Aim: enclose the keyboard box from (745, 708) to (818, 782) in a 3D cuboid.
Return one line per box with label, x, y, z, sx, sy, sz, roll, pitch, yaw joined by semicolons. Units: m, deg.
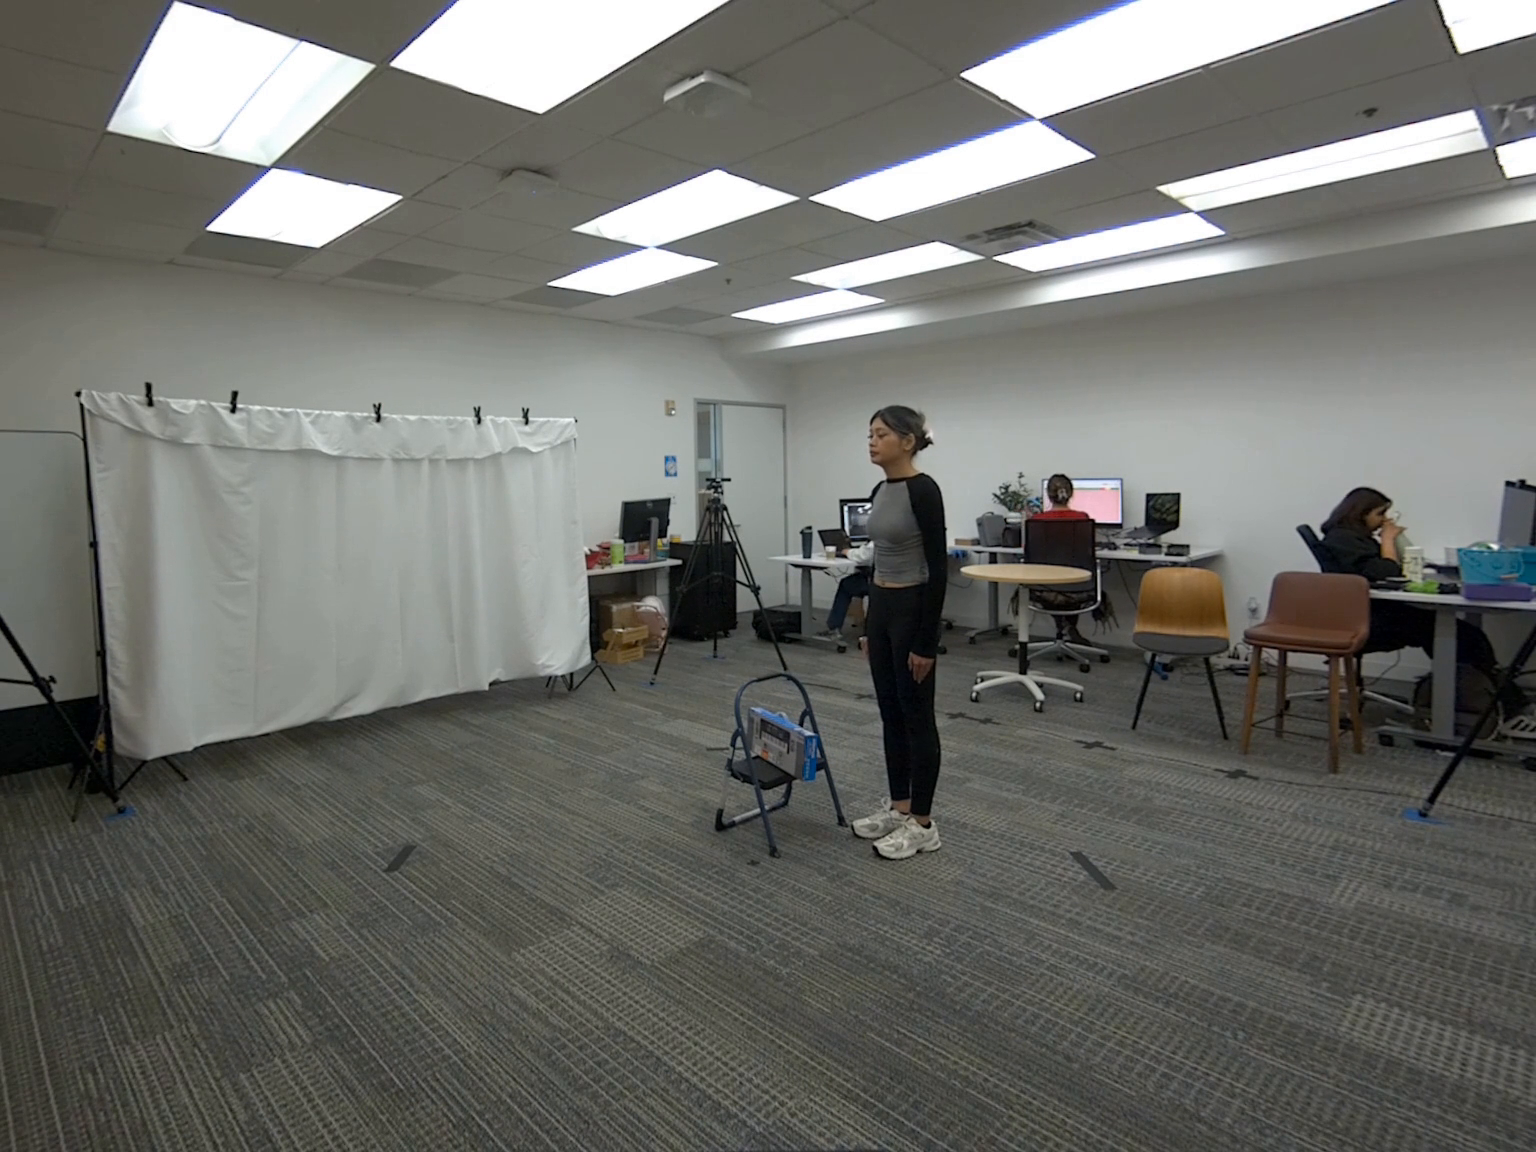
keyboard box;0.048;0.658;3.396;0.057;0.175;0.449;4;4;-29
